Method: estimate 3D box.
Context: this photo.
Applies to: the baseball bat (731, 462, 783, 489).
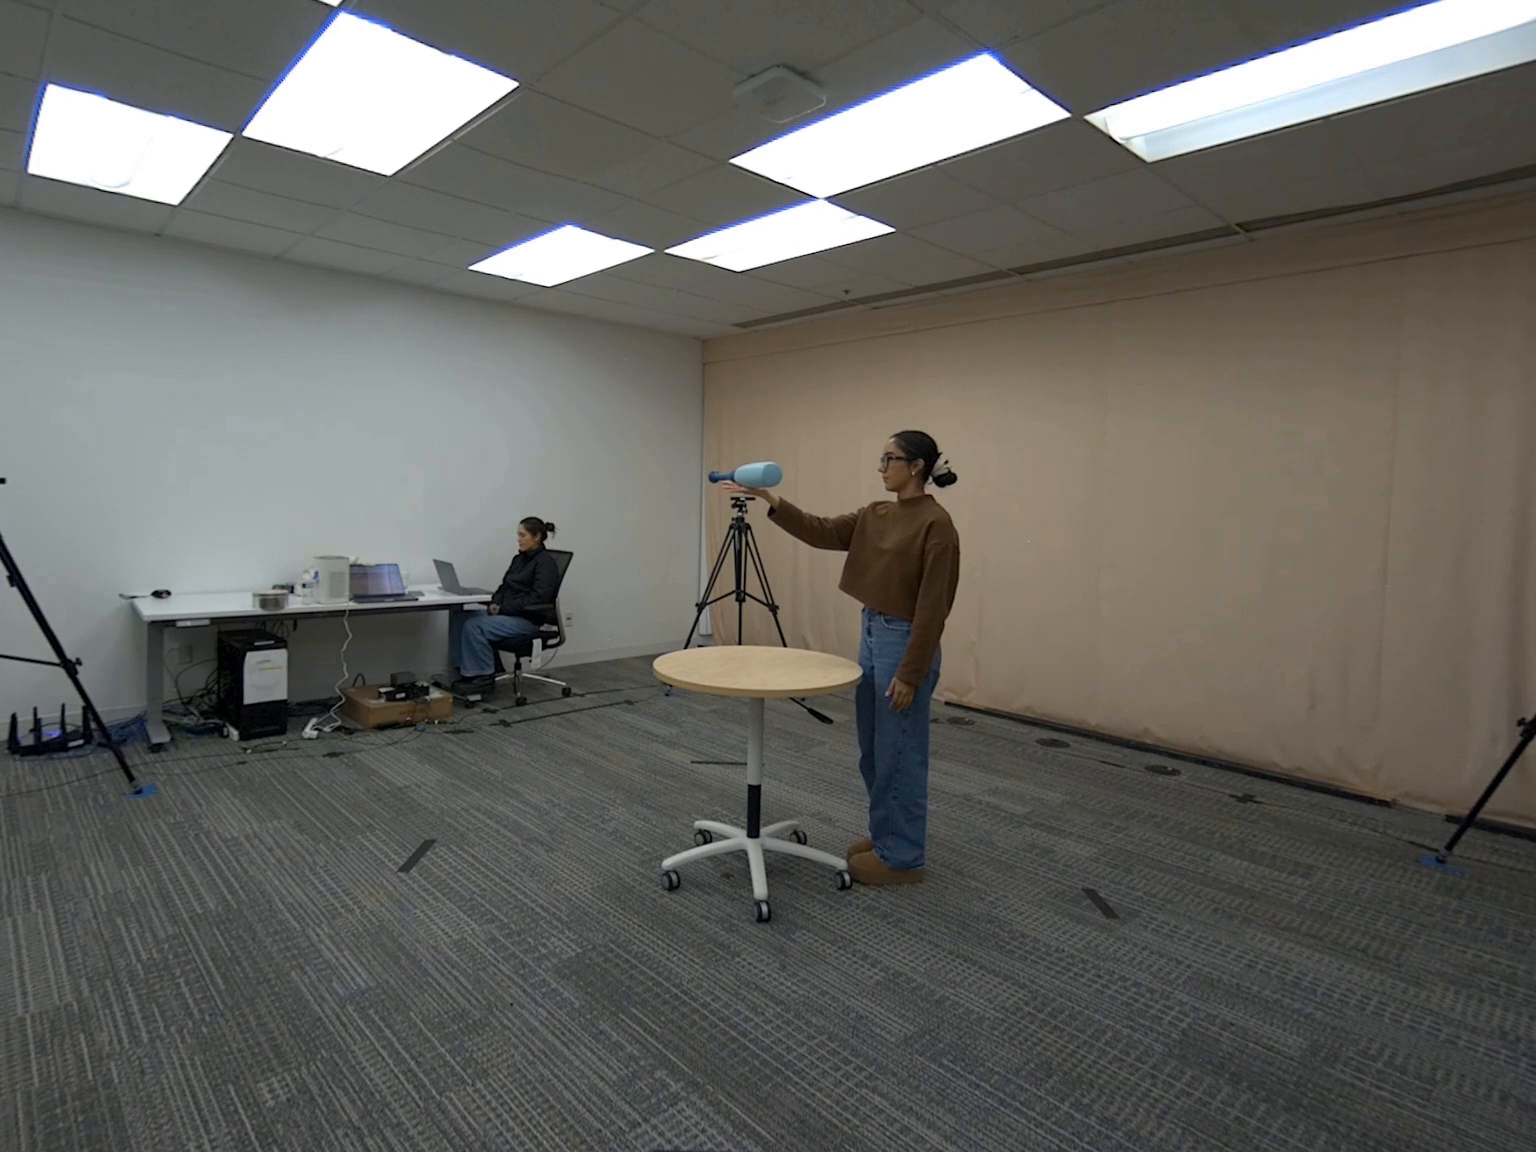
[{"bbox_3d":[-0.106,-0.370,3.134,0.087,0.089,0.554,-1,5,-25],"label":"baseball bat"}]
